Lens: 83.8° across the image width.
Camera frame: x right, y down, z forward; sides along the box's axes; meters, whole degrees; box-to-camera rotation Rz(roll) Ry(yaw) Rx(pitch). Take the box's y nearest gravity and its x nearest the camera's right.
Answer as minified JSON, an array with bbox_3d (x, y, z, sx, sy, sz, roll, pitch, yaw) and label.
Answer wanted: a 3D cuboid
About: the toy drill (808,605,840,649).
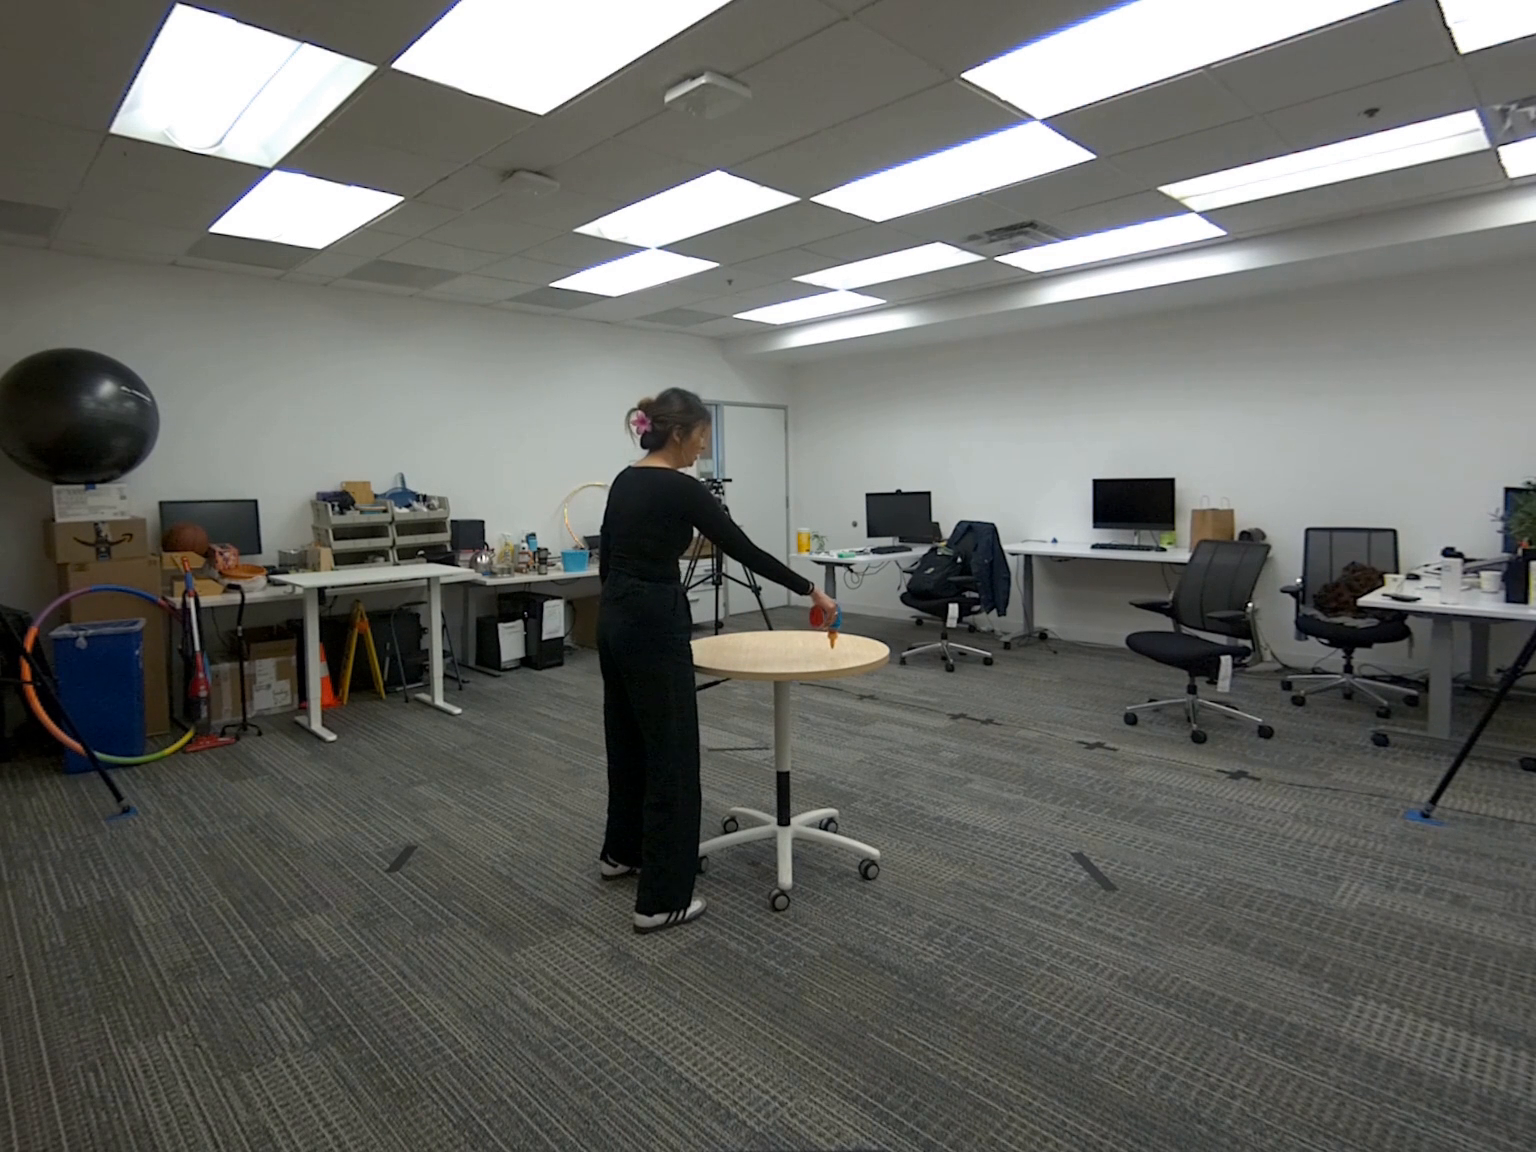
[{"bbox_3d":[0.195,0.167,2.895,0.063,0.169,0.142,5,6,38],"label":"toy drill"}]
